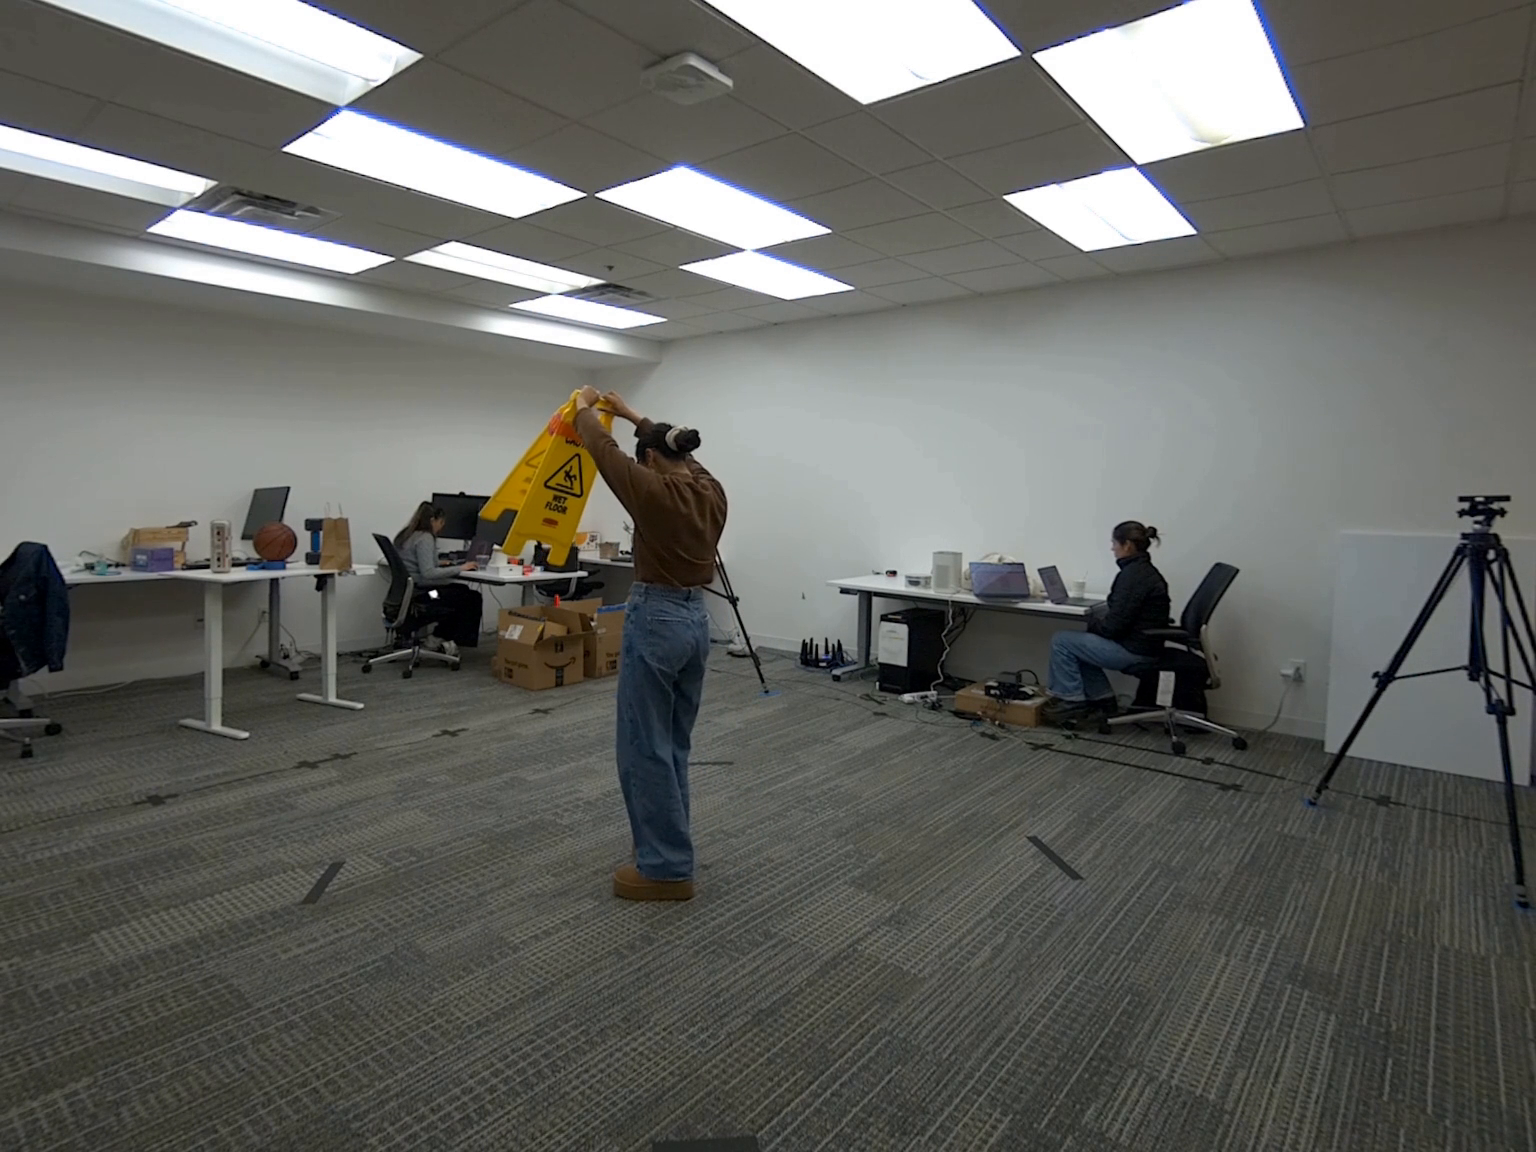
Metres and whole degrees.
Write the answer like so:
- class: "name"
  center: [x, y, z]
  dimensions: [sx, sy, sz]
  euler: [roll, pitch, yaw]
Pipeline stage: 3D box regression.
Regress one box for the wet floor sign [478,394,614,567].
- class: "wet floor sign"
  center: [-0.814, -0.401, 3.231]
  dimensions: [0.271, 0.643, 0.302]
  euler: [15, 21, -47]
